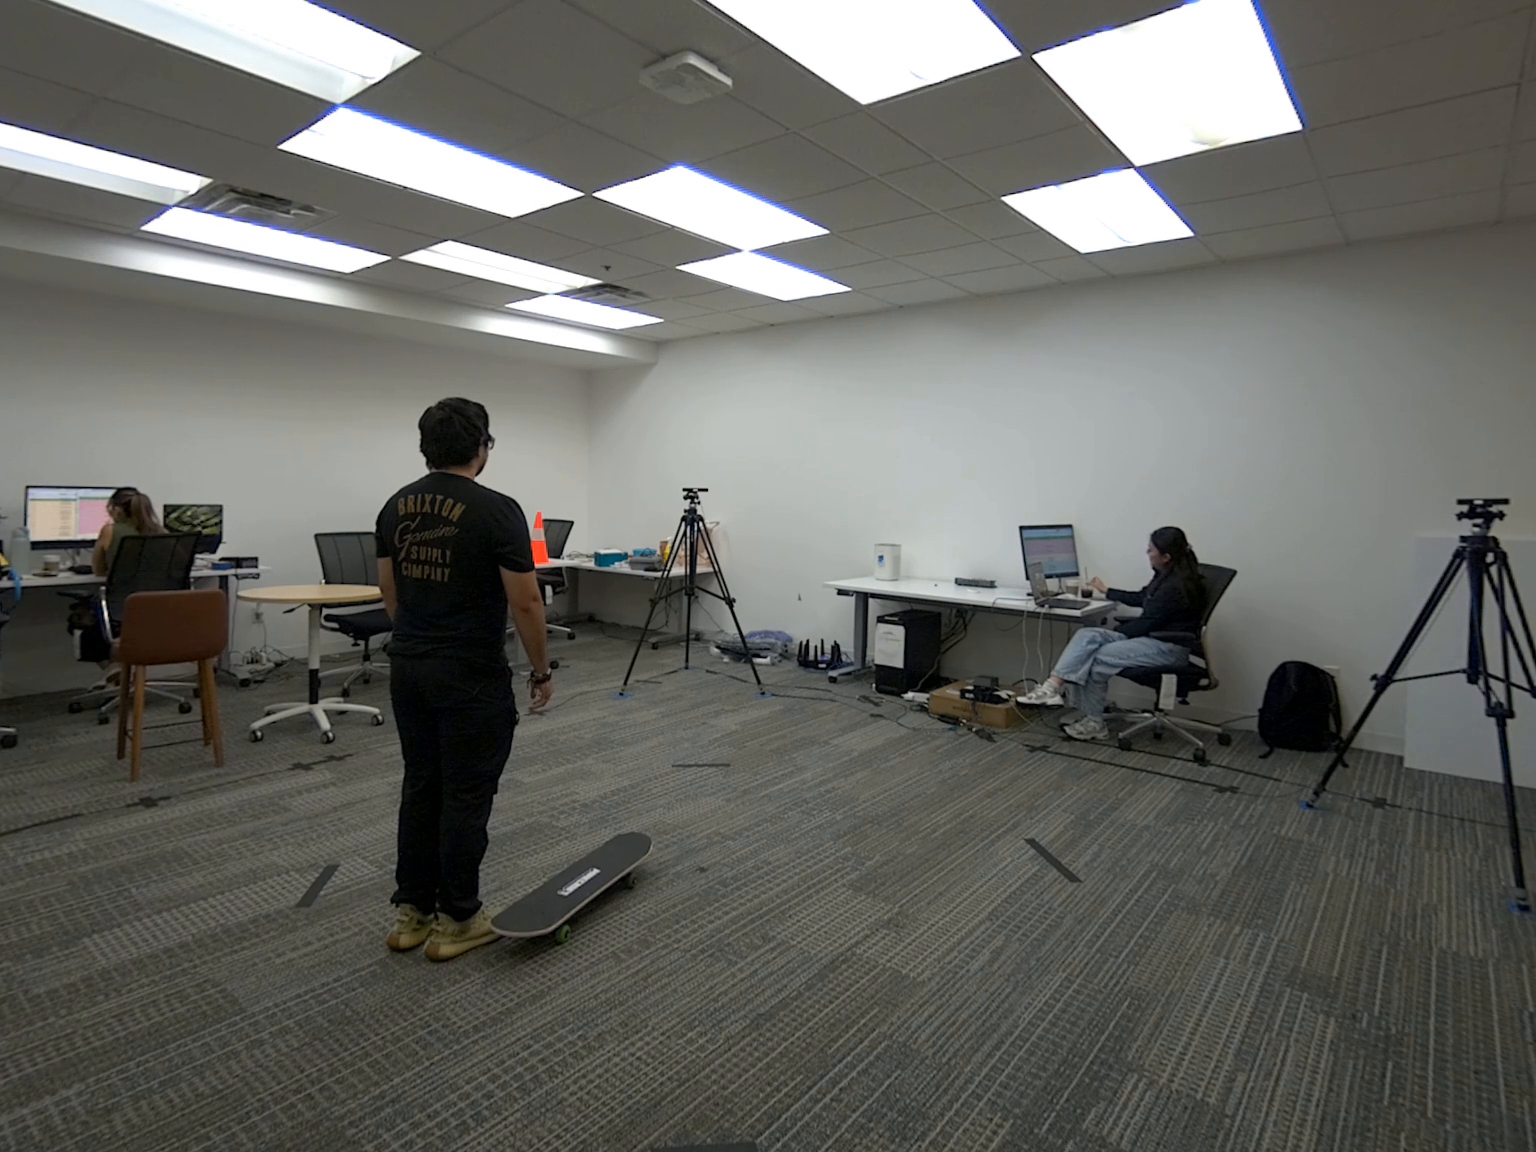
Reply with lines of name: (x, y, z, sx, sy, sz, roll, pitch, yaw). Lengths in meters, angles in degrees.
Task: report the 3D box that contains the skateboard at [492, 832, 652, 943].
skateboard: (-0.629, 1.036, 2.808, 0.198, 0.110, 0.770, 2, 6, 22)
